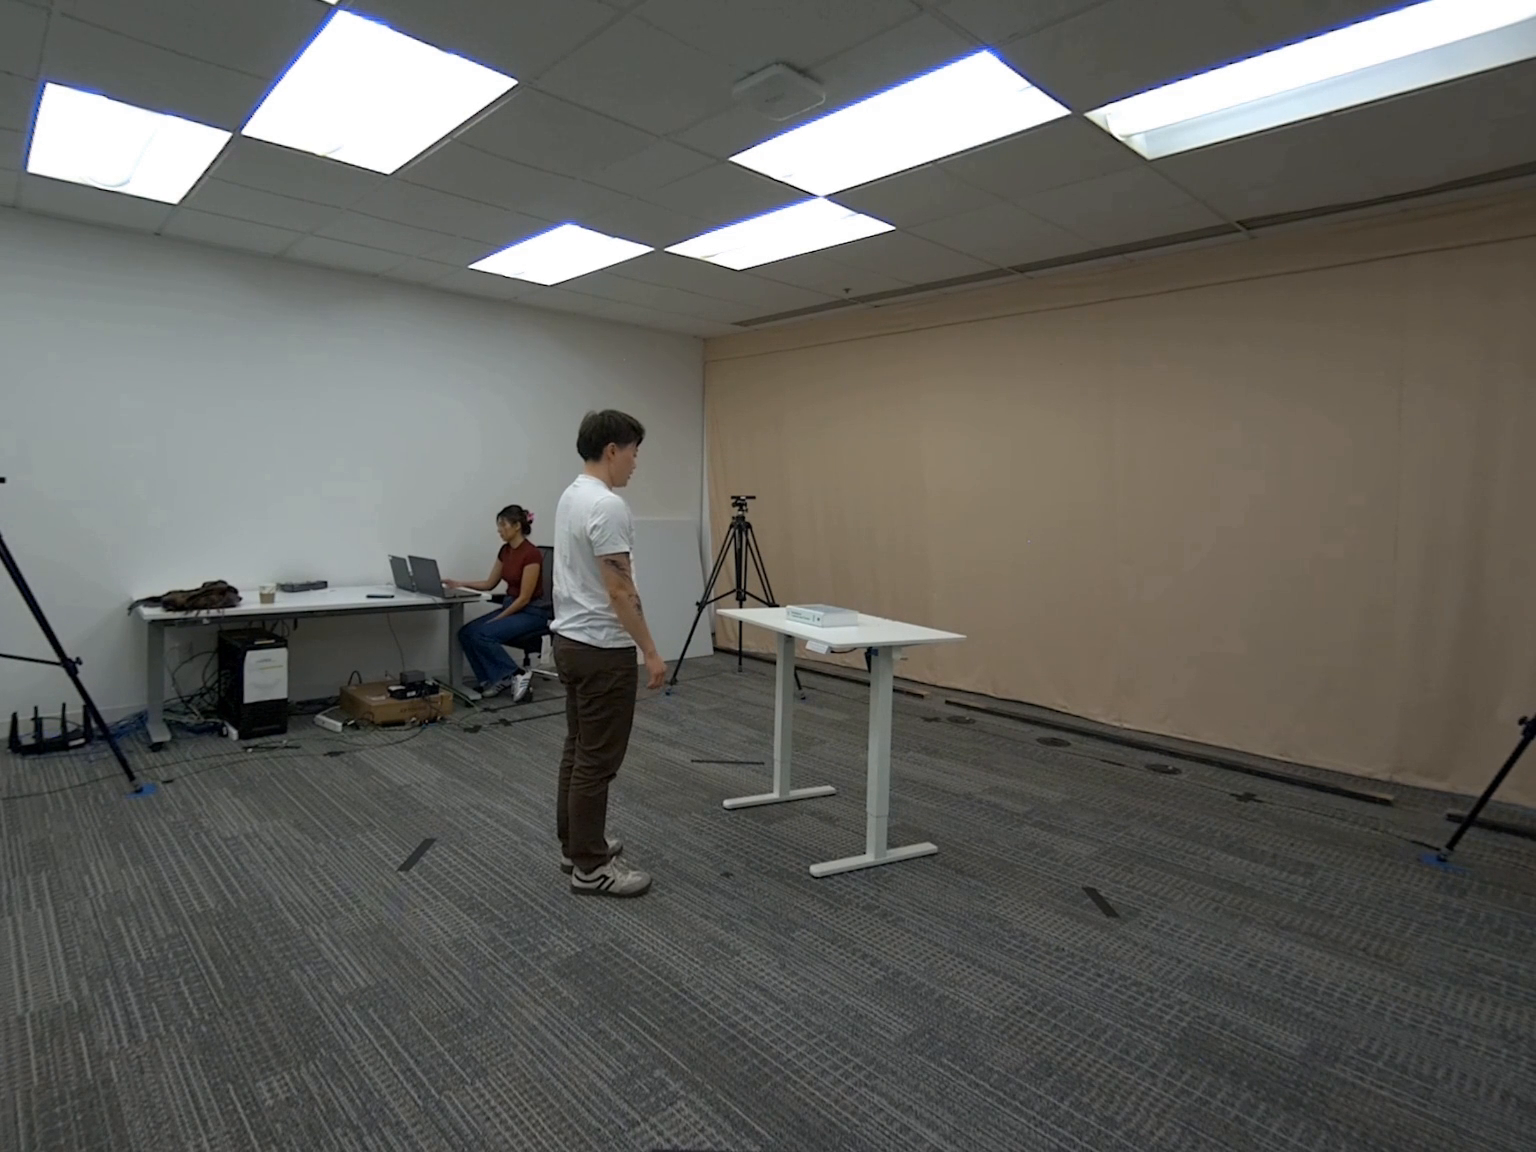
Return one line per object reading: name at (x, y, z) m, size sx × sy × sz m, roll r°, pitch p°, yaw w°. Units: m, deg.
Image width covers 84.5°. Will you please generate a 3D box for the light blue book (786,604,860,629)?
light blue book at (0.216, 0.166, 3.528) m, size 0.187 × 0.059 × 0.267 m, roll -2°, pitch 6°, yaw -32°
